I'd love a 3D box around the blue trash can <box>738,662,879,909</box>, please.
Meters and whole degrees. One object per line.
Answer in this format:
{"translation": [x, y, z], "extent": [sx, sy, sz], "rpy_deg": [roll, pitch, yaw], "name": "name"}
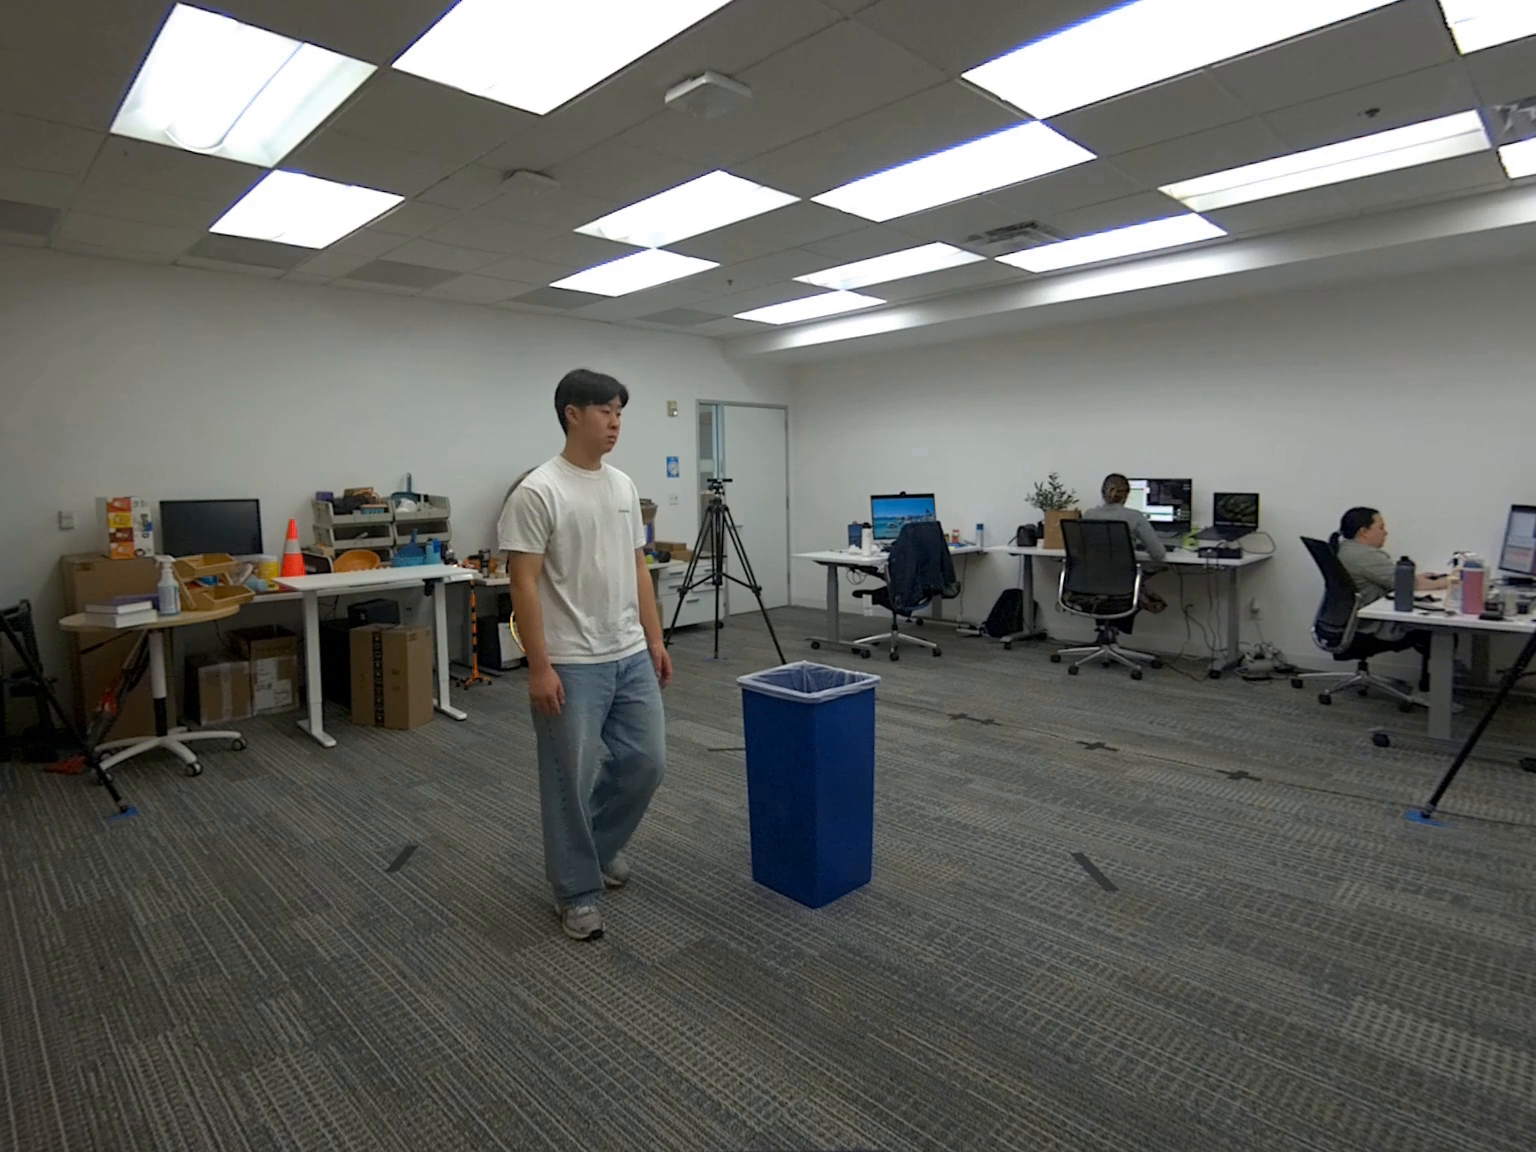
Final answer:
{"translation": [0.146, 0.701, 2.944], "extent": [0.364, 0.711, 0.389], "rpy_deg": [-5, 5, -44], "name": "blue trash can"}
